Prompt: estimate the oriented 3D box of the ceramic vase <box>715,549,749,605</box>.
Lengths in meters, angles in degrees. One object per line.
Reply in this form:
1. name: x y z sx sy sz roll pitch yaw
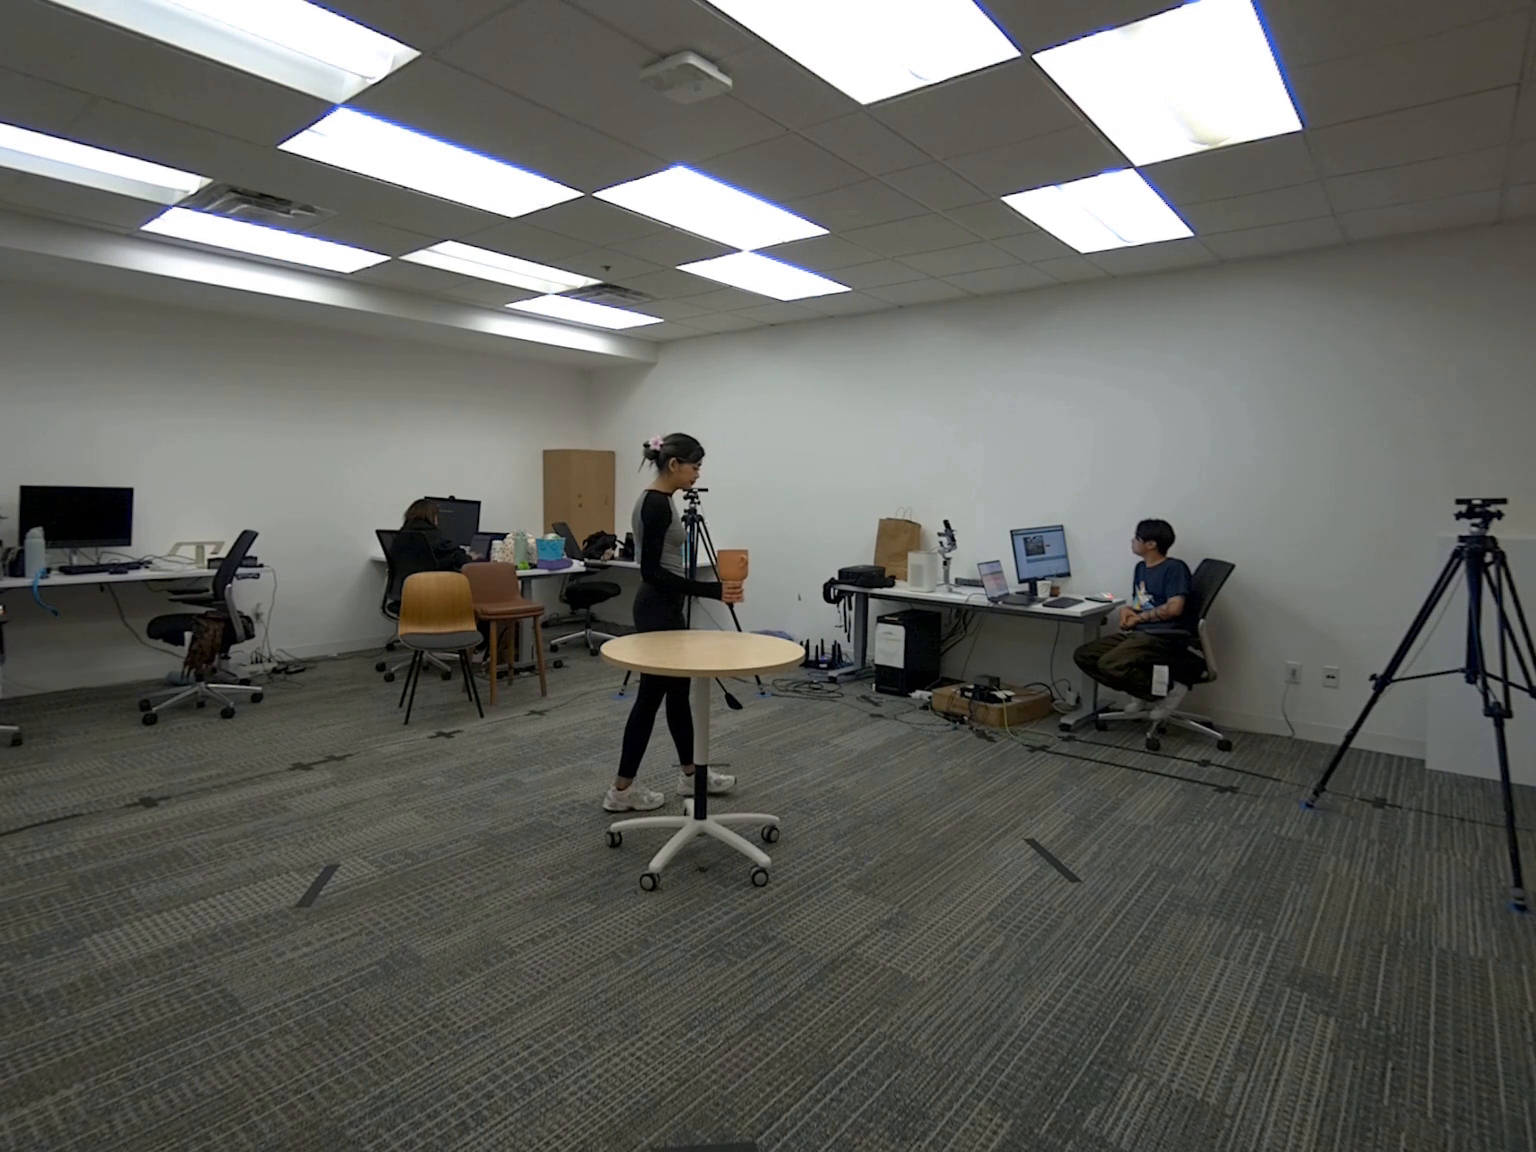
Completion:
1. ceramic vase: -0.168 -0.005 3.595 0.135 0.220 0.158 0 -3 1
